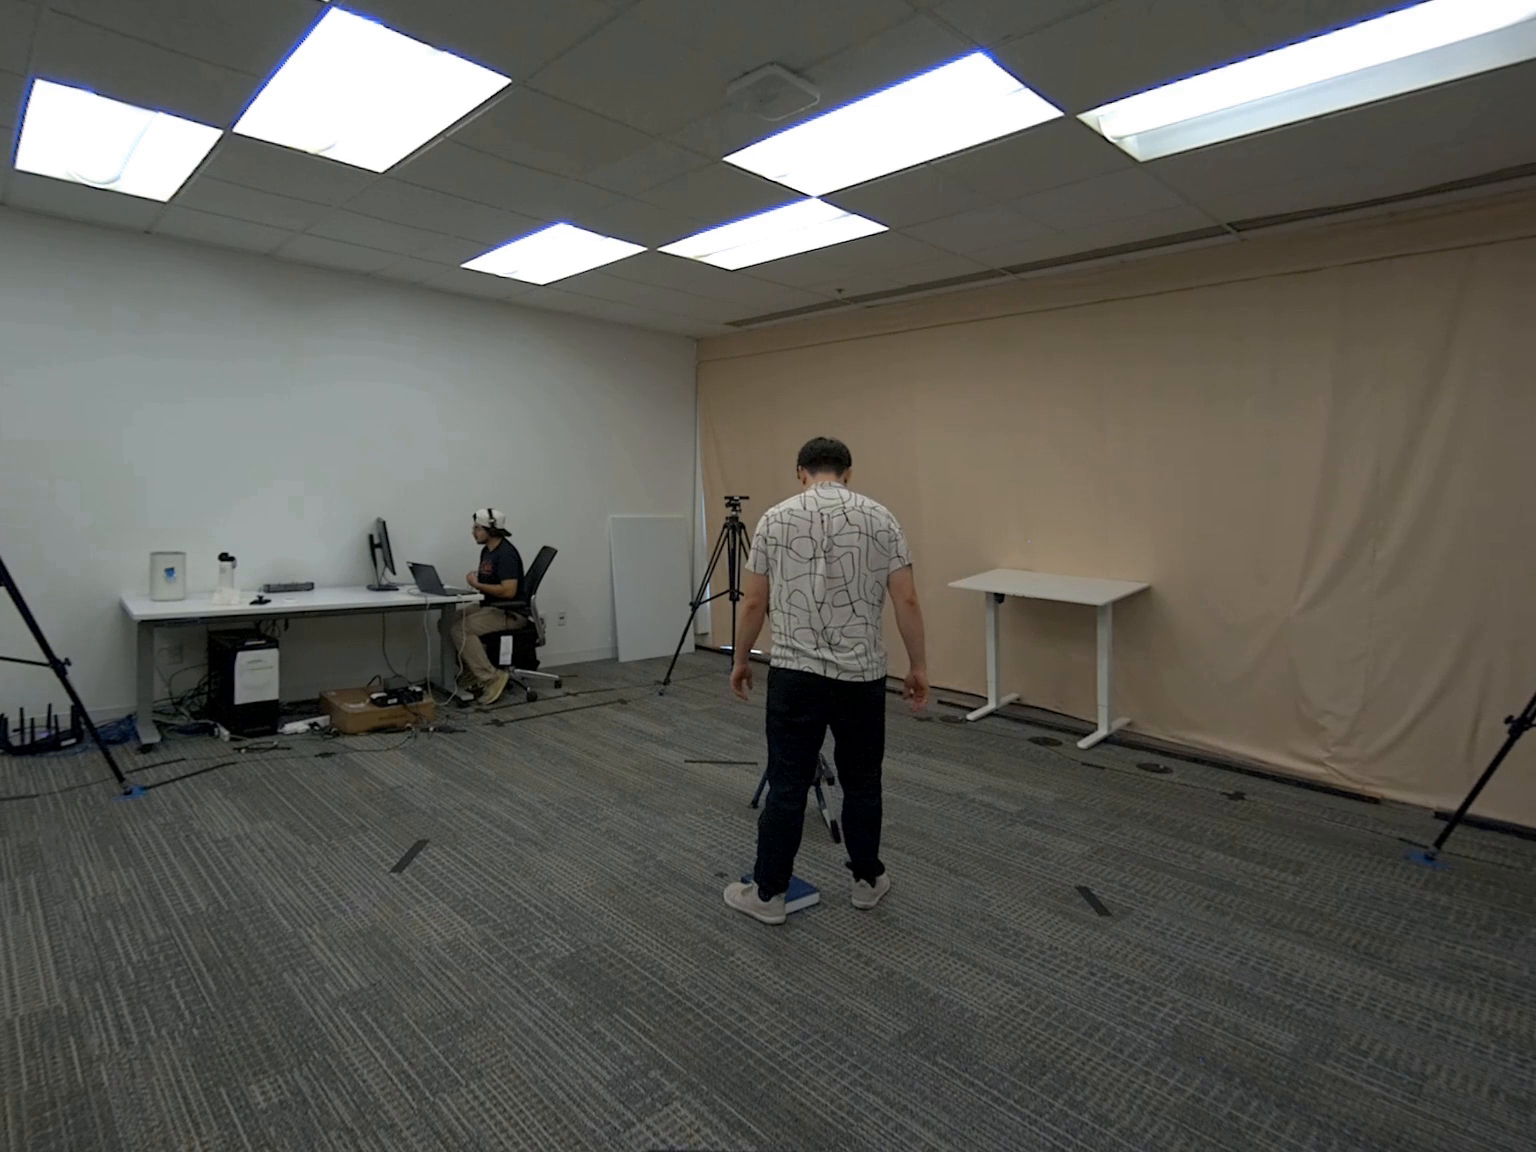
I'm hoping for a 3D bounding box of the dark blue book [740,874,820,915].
[{"bbox_3d":[0.040,1.097,2.950,0.160,0.045,0.251,-3,6,-37],"label":"dark blue book"}]
